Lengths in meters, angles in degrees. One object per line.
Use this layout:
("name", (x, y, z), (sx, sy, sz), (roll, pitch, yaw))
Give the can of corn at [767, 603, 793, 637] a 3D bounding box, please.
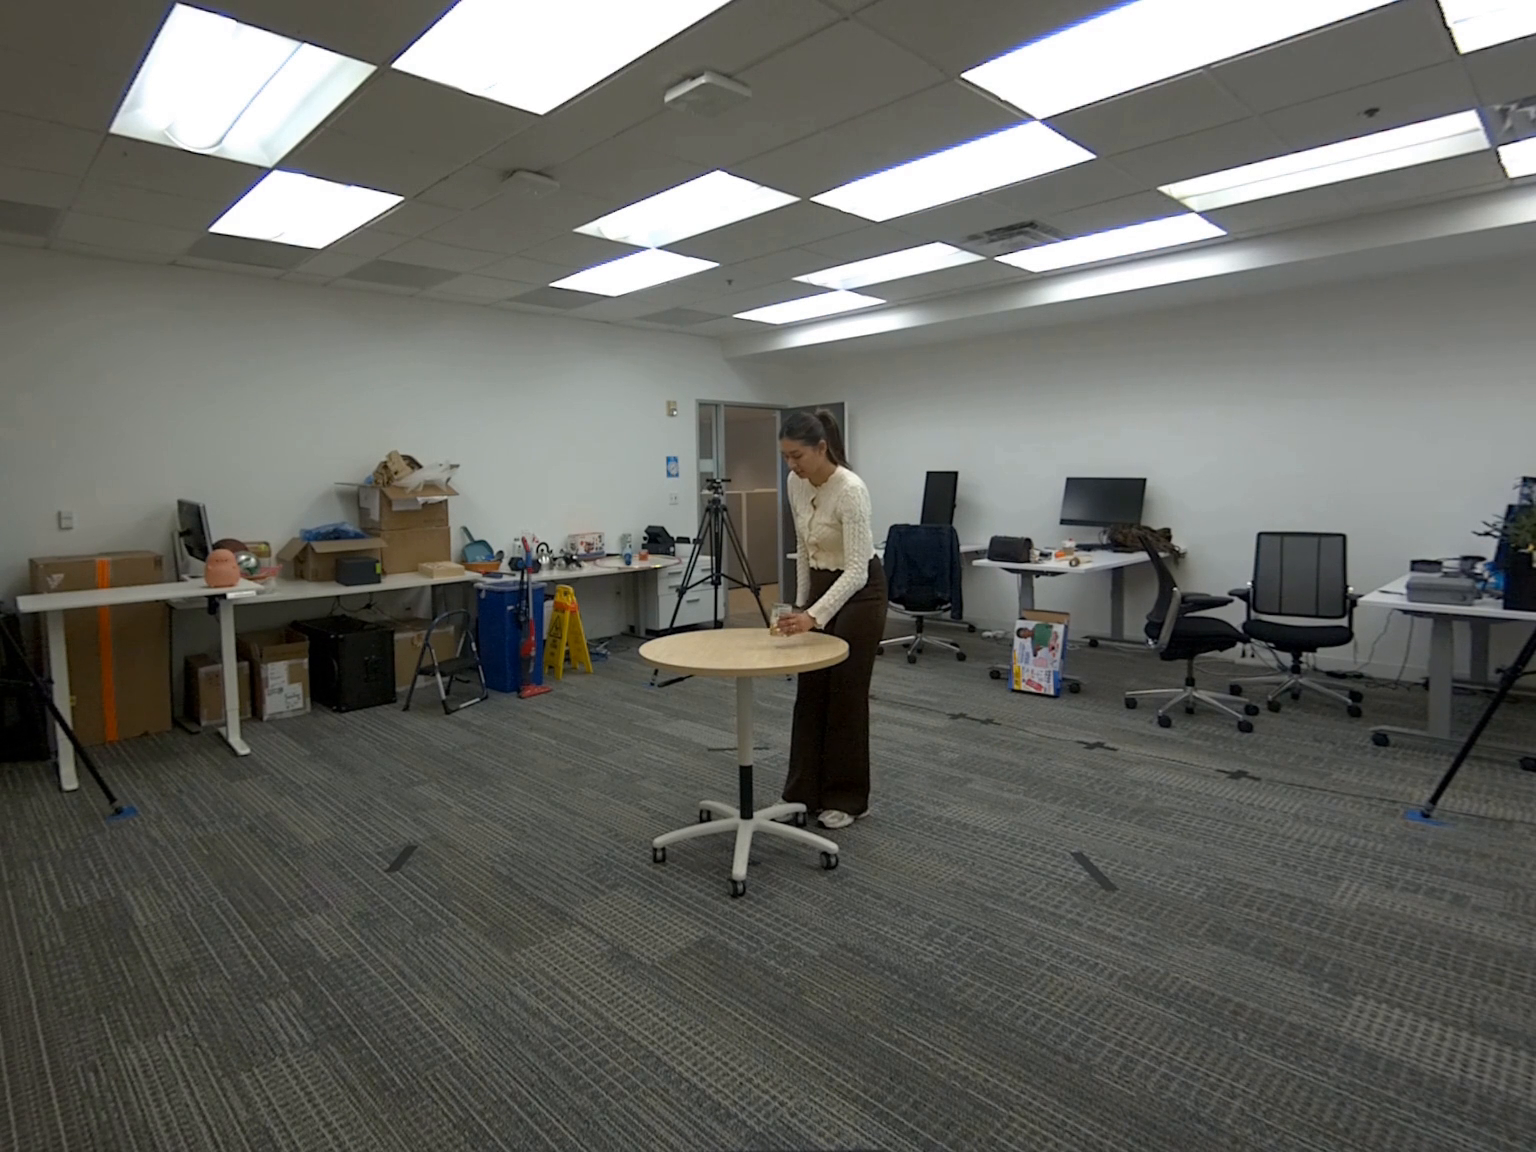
("can of corn", (0.064, 0.163, 3.068), (0.074, 0.111, 0.074), (4, 1, -2))
